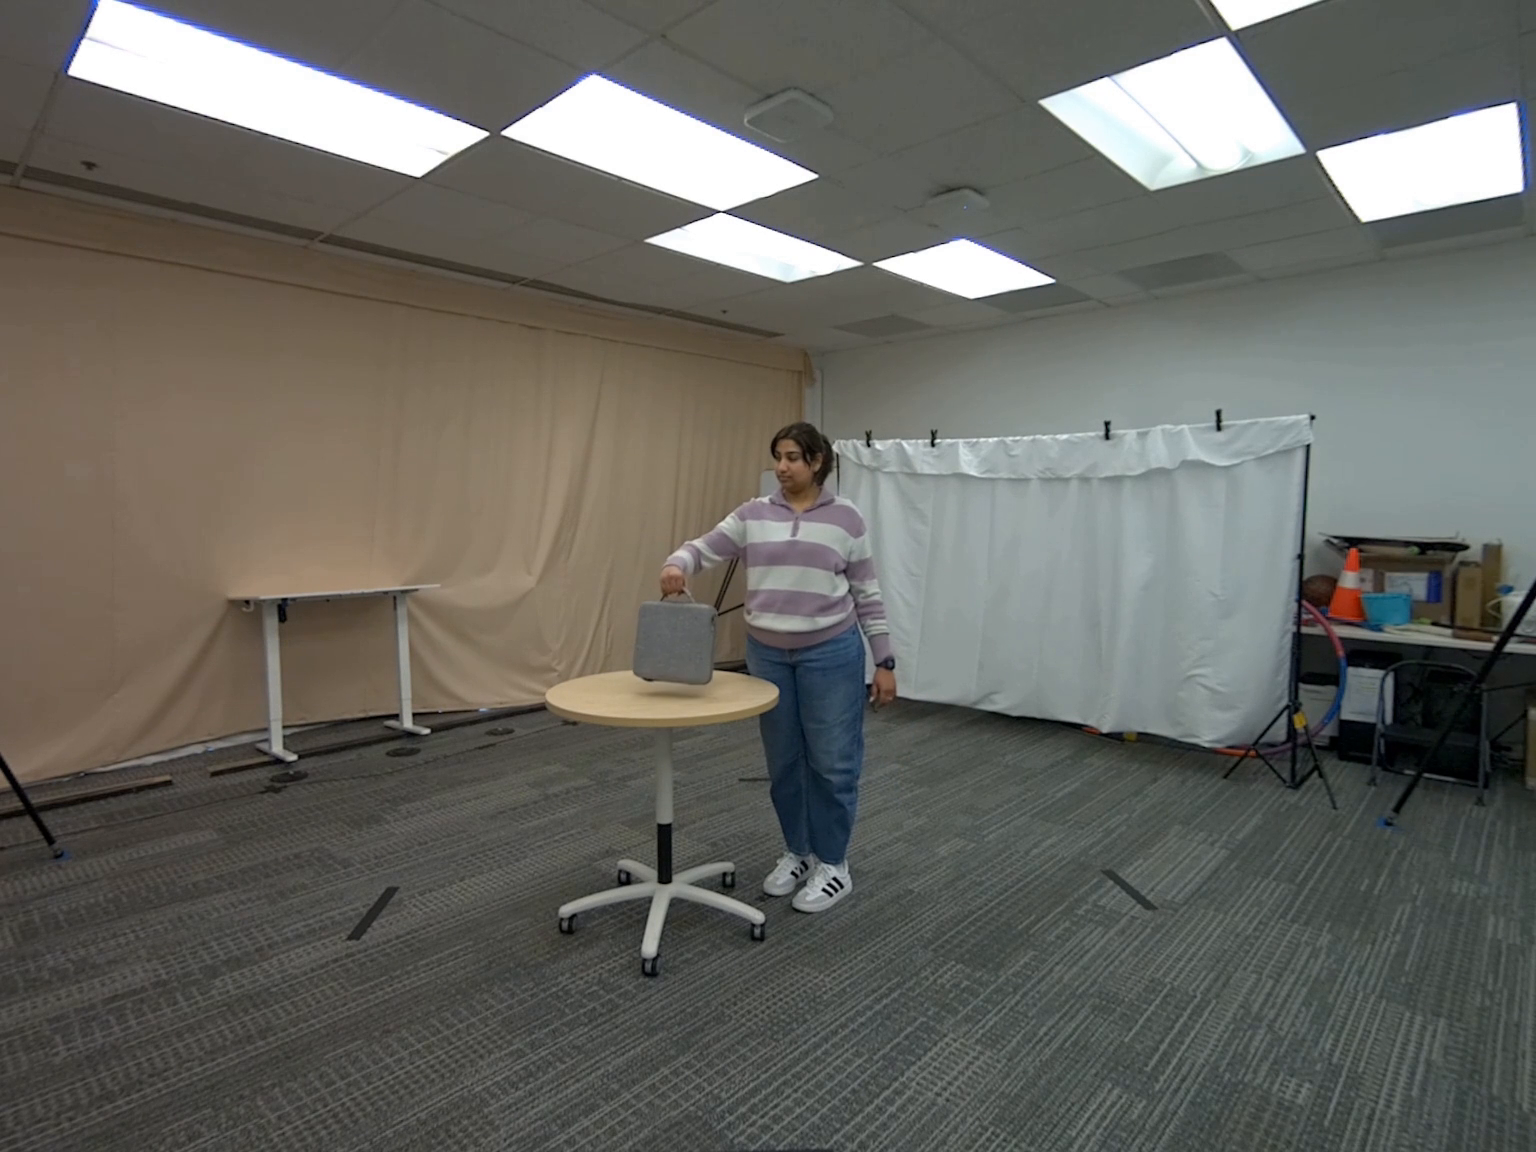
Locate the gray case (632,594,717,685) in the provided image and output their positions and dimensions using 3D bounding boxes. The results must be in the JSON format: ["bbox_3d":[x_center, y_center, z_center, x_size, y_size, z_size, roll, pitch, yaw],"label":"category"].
[{"bbox_3d":[-0.288,0.205,2.712,0.262,0.261,0.102,1,-7,19],"label":"gray case"}]
